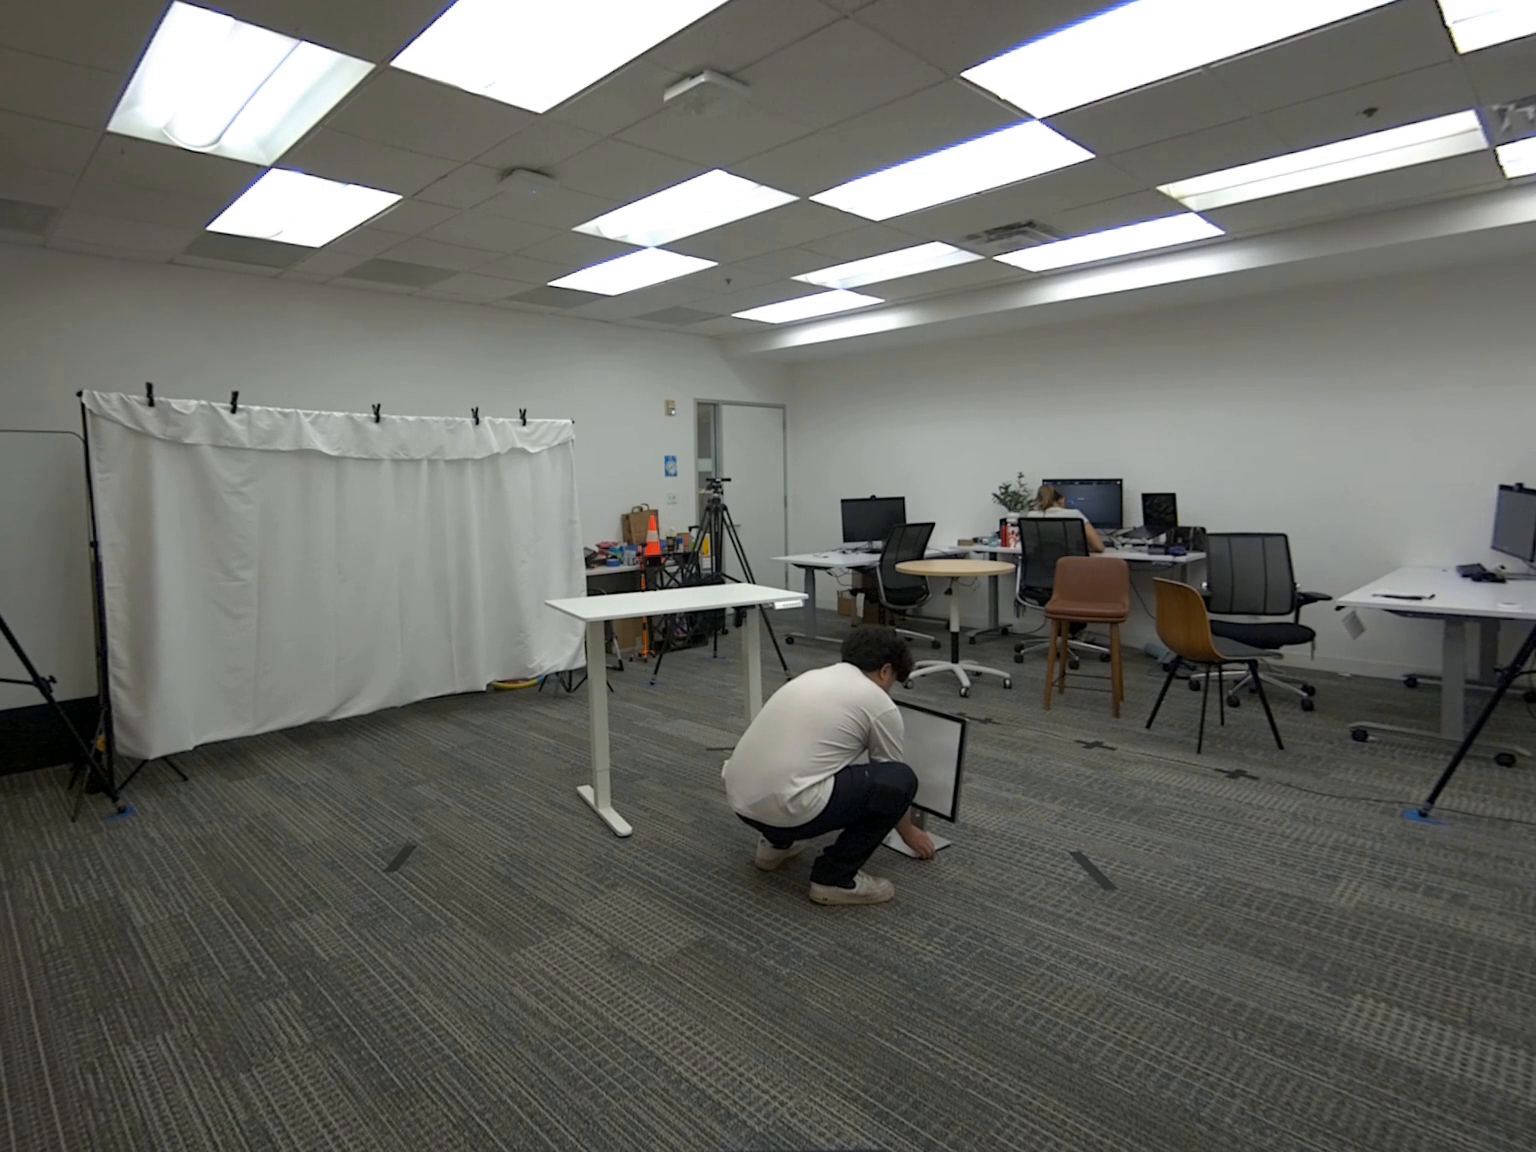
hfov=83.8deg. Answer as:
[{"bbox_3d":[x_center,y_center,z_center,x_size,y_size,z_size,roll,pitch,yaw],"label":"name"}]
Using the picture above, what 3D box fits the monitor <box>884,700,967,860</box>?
[{"bbox_3d":[0.555,0.747,3.257,0.204,0.554,0.582,2,1,-37],"label":"monitor"}]
